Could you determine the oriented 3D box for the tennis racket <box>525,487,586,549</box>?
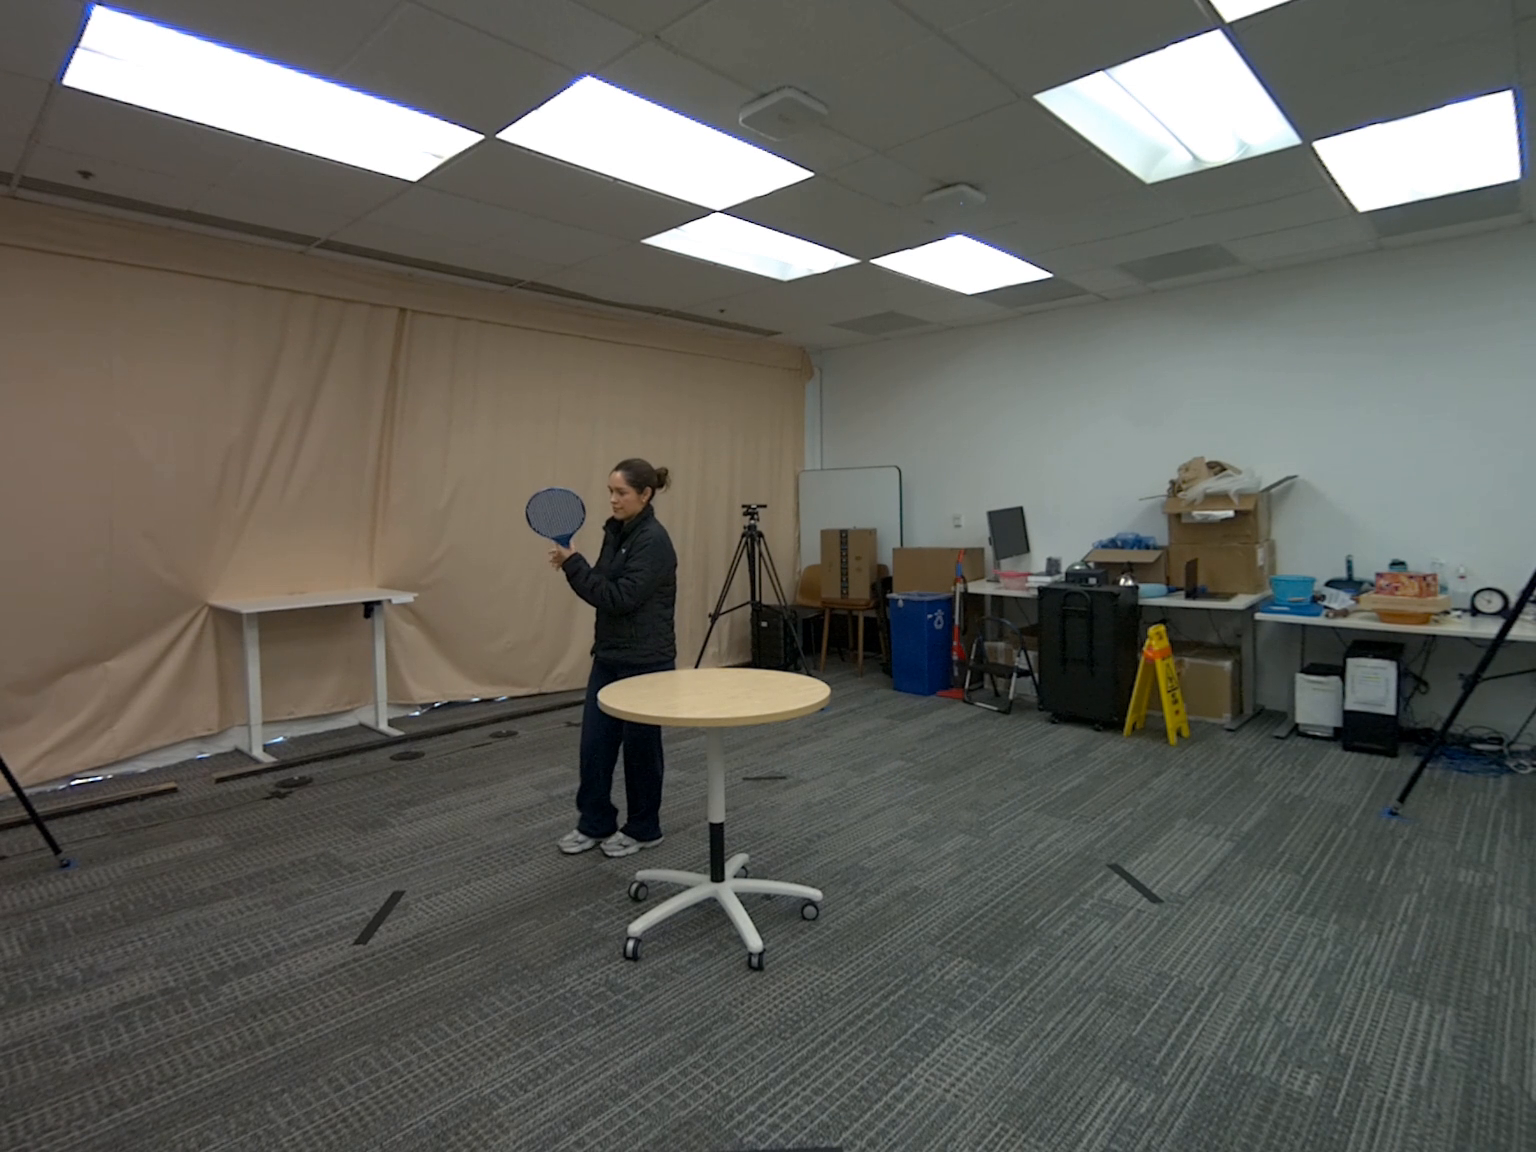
[{"bbox_3d":[-0.764,-0.173,3.113,0.213,0.032,0.423,-12,-40,-5],"label":"tennis racket"}]
